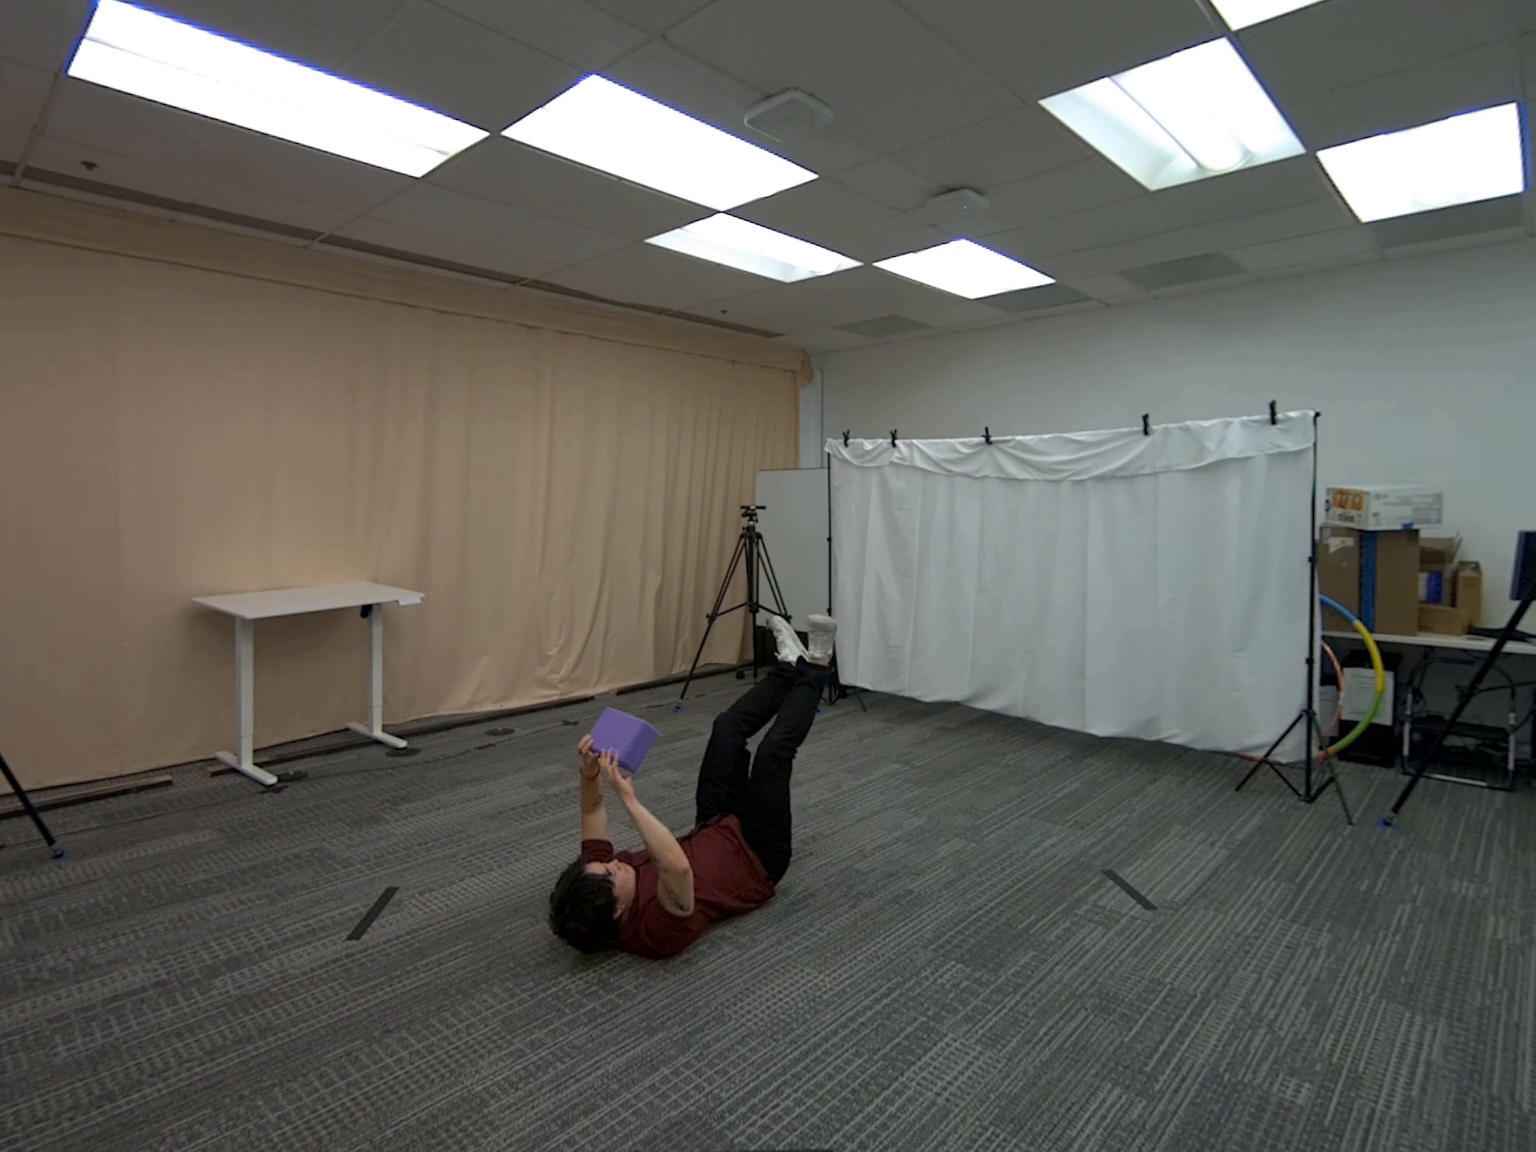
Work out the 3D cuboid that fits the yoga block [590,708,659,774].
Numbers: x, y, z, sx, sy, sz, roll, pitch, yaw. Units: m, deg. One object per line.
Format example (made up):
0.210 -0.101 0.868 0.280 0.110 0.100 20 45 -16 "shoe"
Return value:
-0.456 0.503 2.645 0.237 0.149 0.074 5 -34 46 "yoga block"
